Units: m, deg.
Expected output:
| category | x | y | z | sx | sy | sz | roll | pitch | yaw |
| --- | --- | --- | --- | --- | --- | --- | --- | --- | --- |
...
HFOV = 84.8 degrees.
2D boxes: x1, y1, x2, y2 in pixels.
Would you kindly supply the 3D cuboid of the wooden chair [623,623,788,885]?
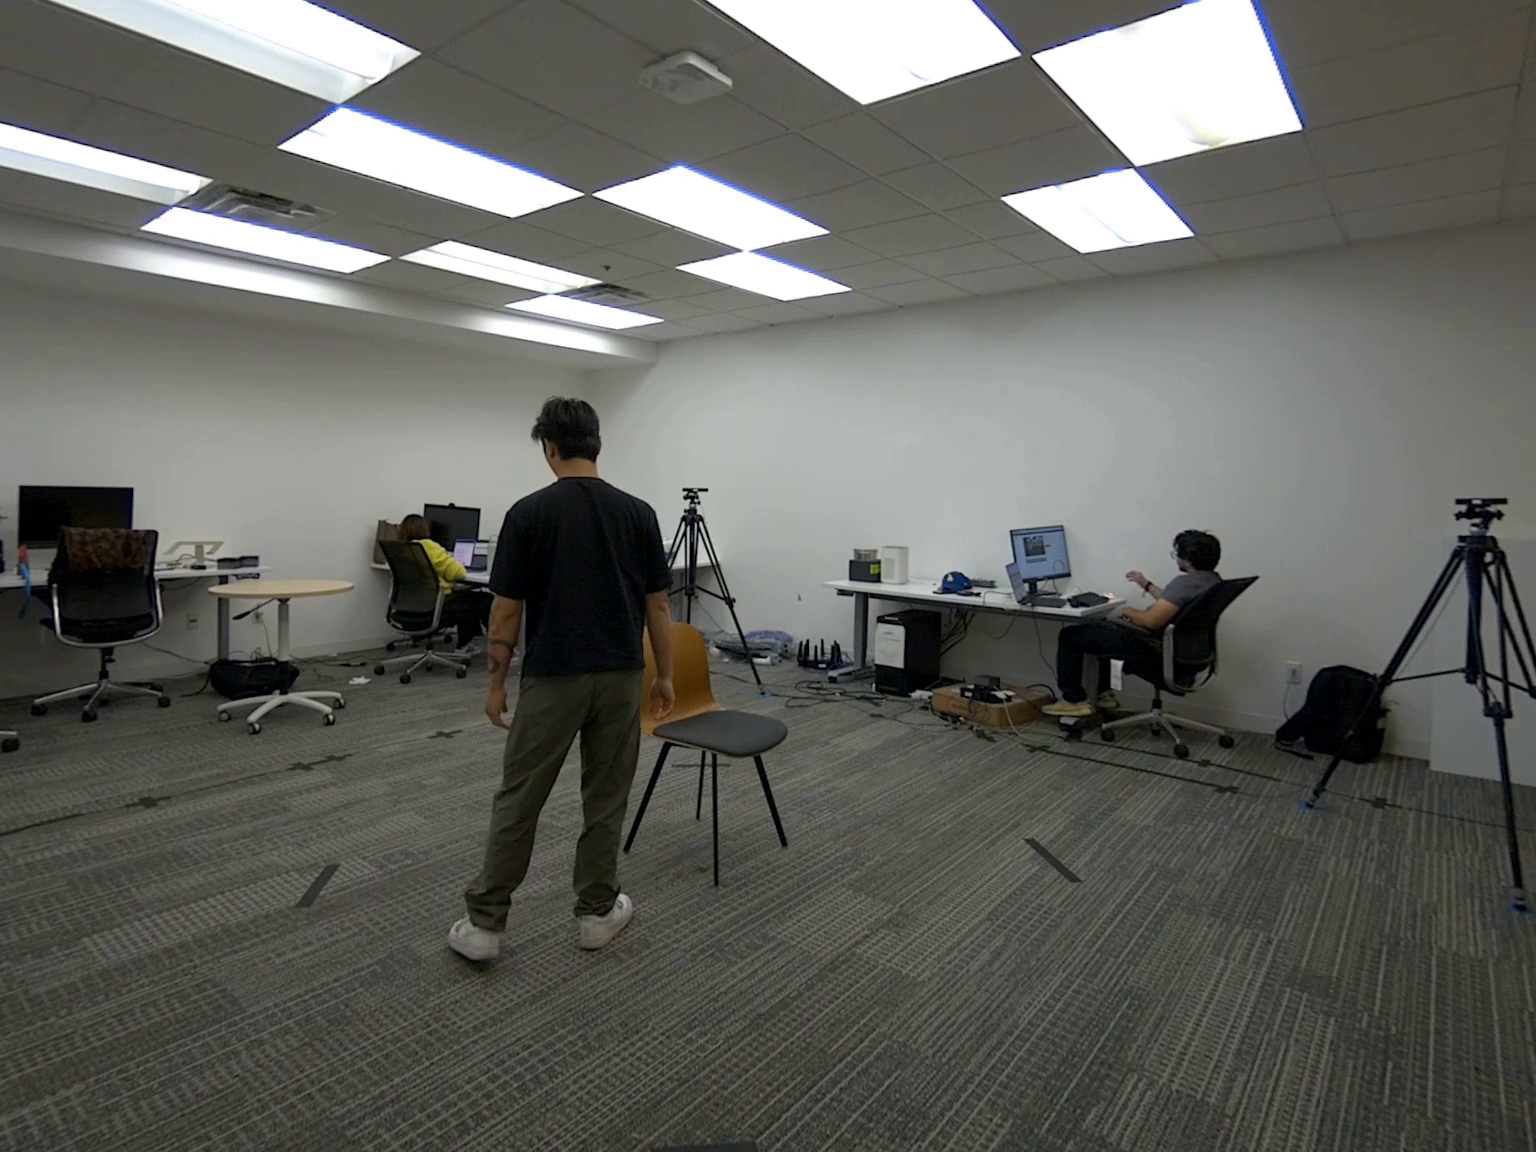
| category | x | y | z | sx | sy | sz | roll | pitch | yaw |
| --- | --- | --- | --- | --- | --- | --- | --- | --- | --- |
| wooden chair | -0.227 | 0.626 | 3.252 | 0.539 | 0.878 | 0.464 | -2 | 0 | 36 |
